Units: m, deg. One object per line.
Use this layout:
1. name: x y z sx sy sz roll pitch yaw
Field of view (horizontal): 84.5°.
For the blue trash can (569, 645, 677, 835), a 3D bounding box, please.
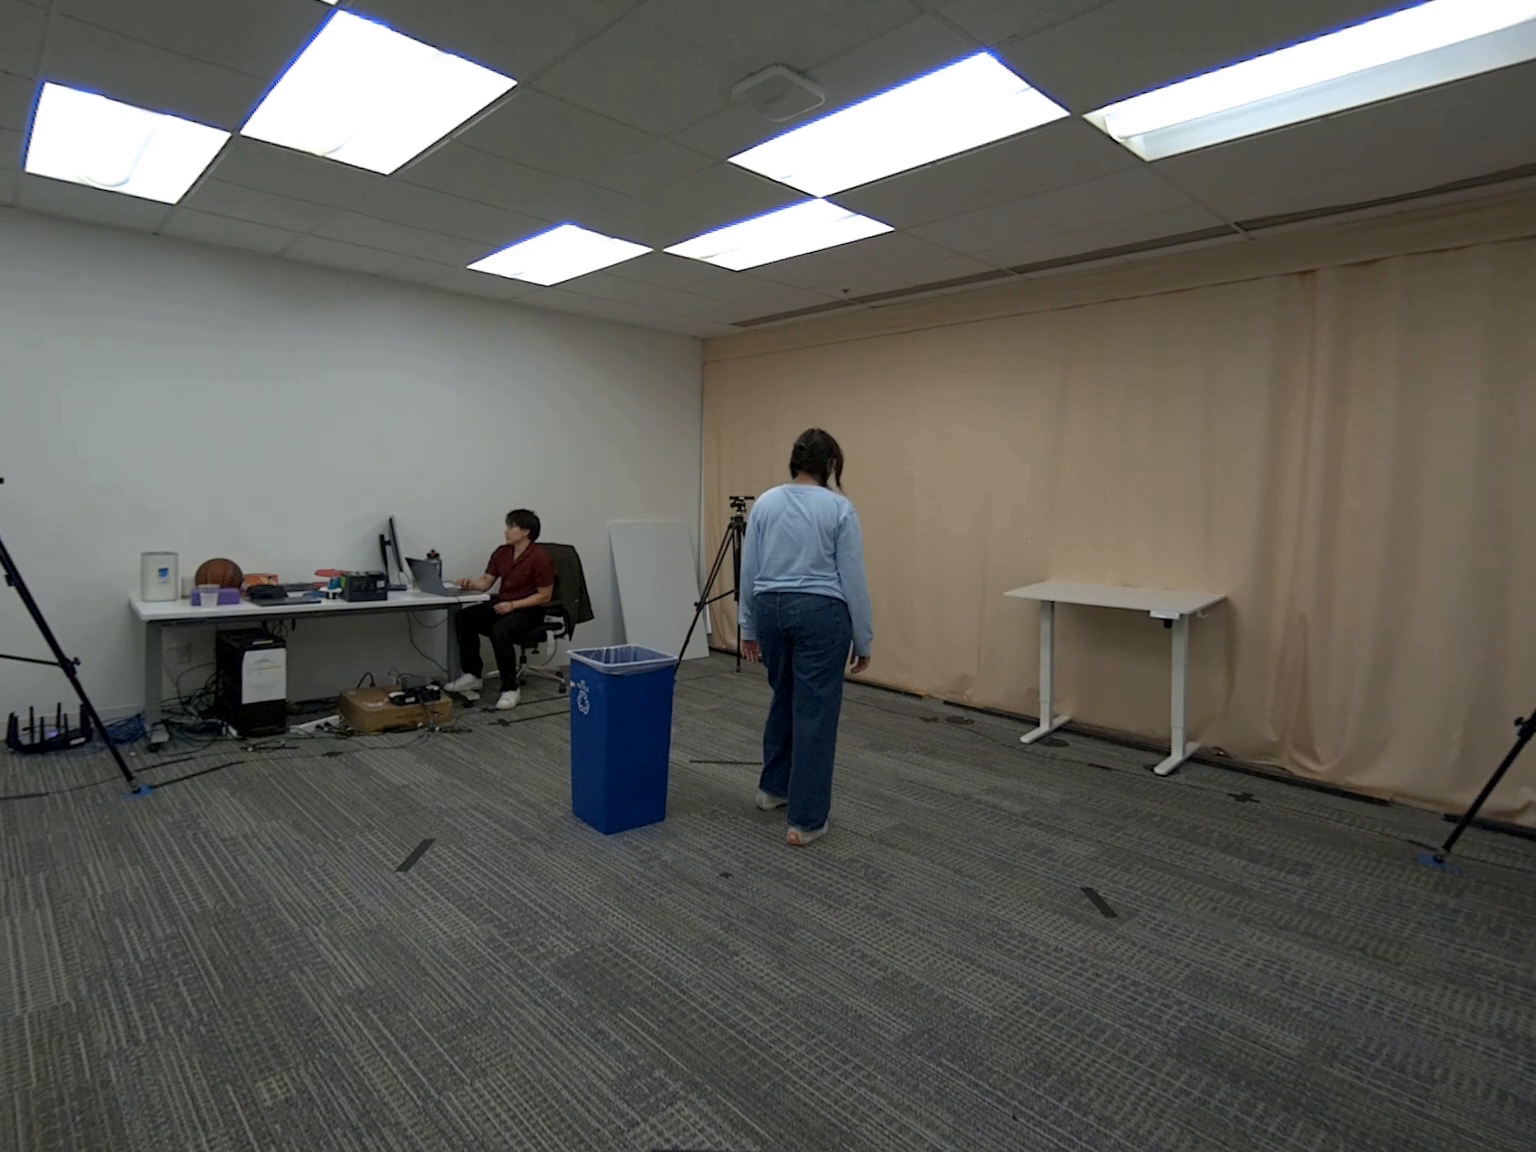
1. blue trash can: -0.635 0.687 3.623 0.369 0.712 0.383 -2 5 -39
